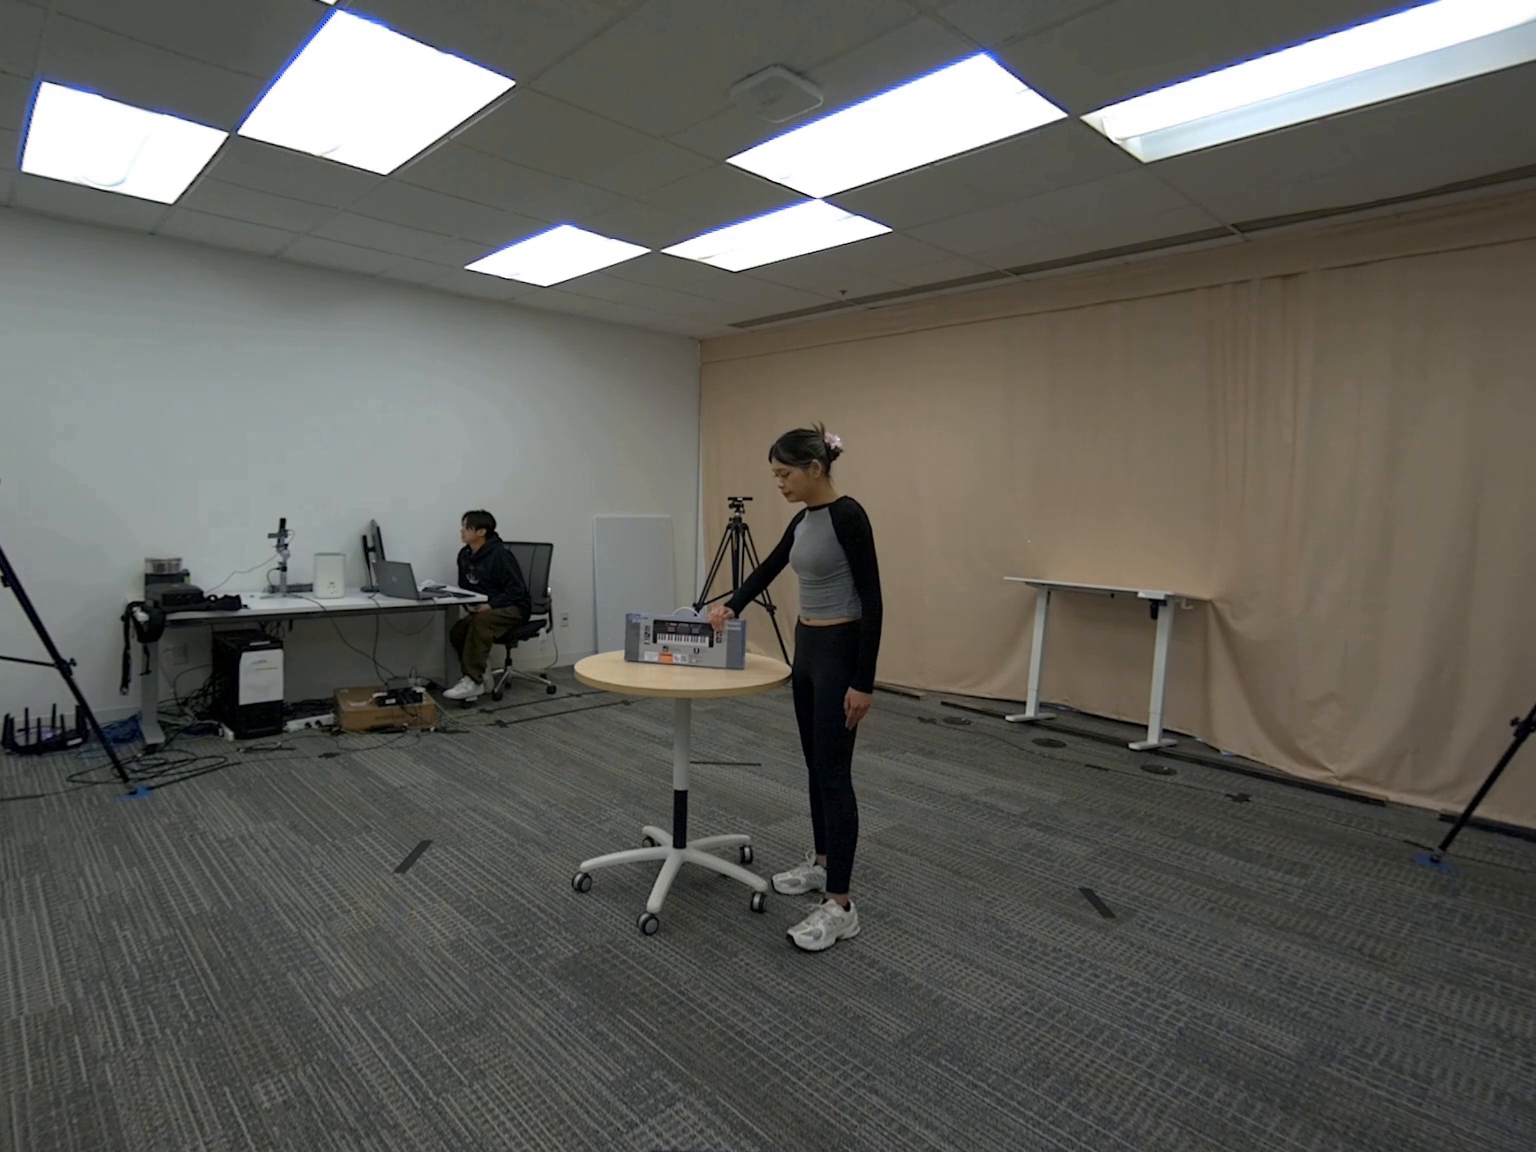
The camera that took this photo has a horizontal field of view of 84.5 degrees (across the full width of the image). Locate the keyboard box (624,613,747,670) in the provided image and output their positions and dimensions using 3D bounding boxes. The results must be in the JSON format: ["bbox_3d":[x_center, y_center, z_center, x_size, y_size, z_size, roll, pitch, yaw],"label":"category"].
[{"bbox_3d":[-0.303,0.229,3.019,0.441,0.176,0.058,2,0,12],"label":"keyboard box"}]
